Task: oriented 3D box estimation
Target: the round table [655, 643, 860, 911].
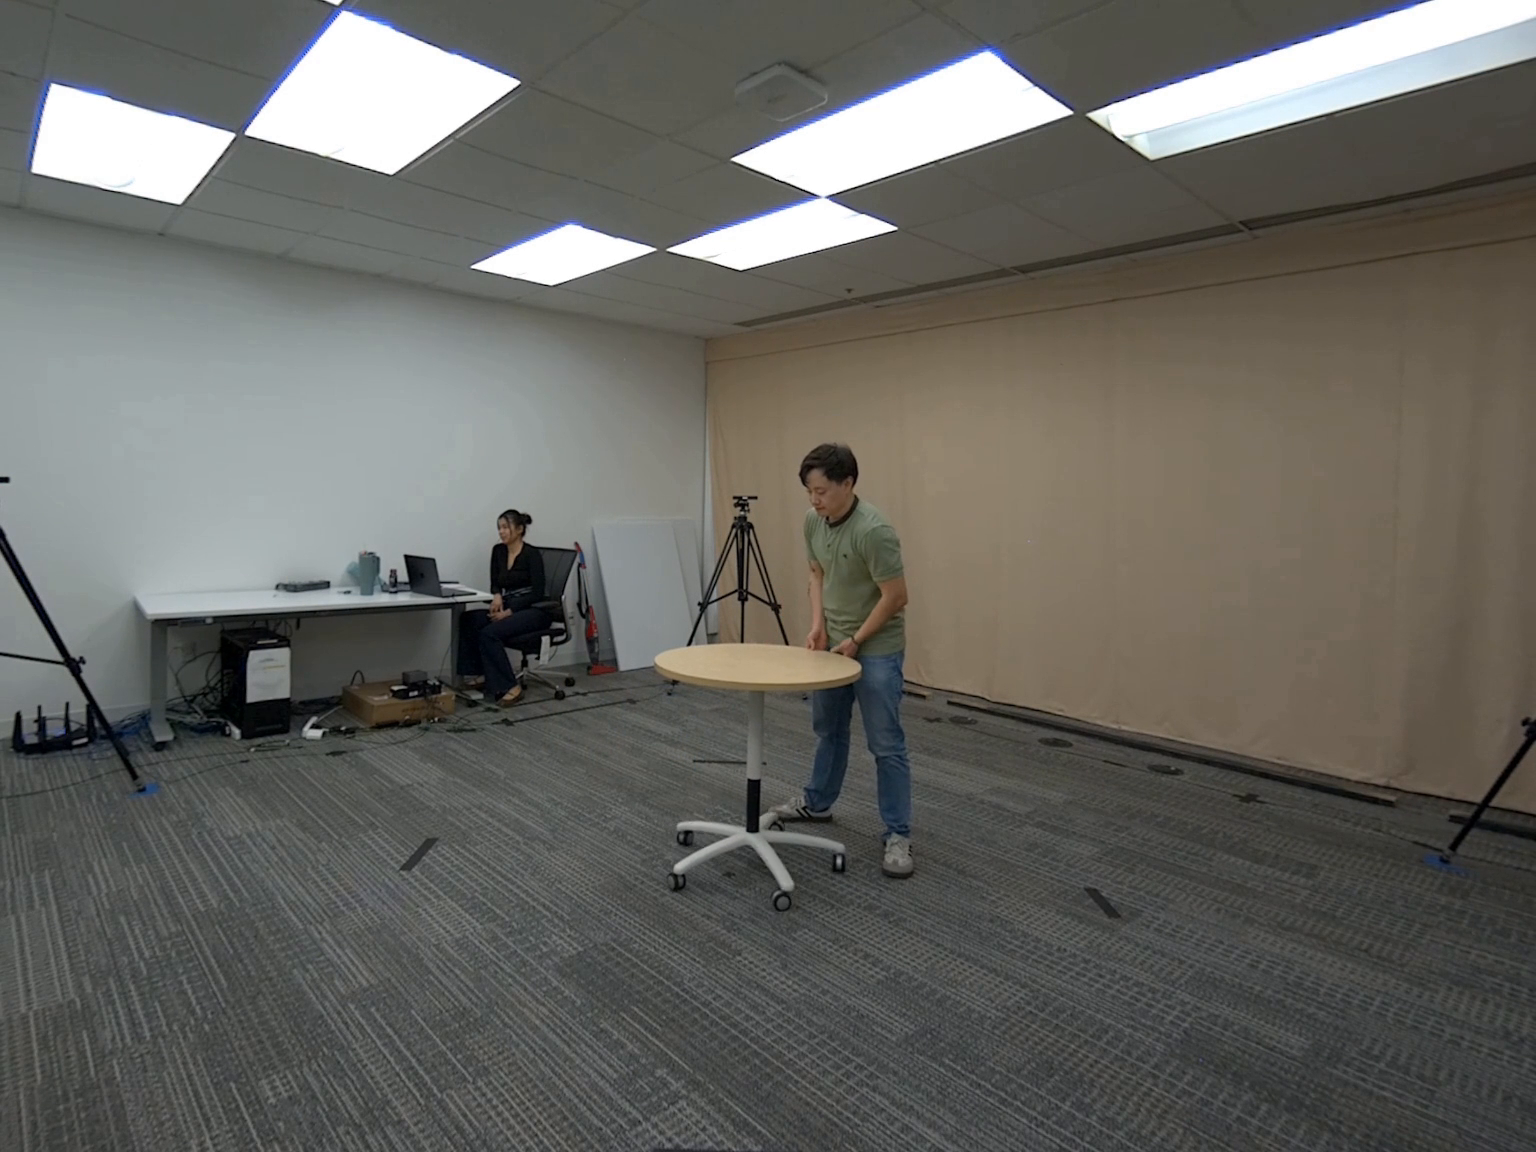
[{"bbox_3d":[-0.055,0.711,3.147,0.763,0.792,0.766,2,4,-1],"label":"round table"}]
